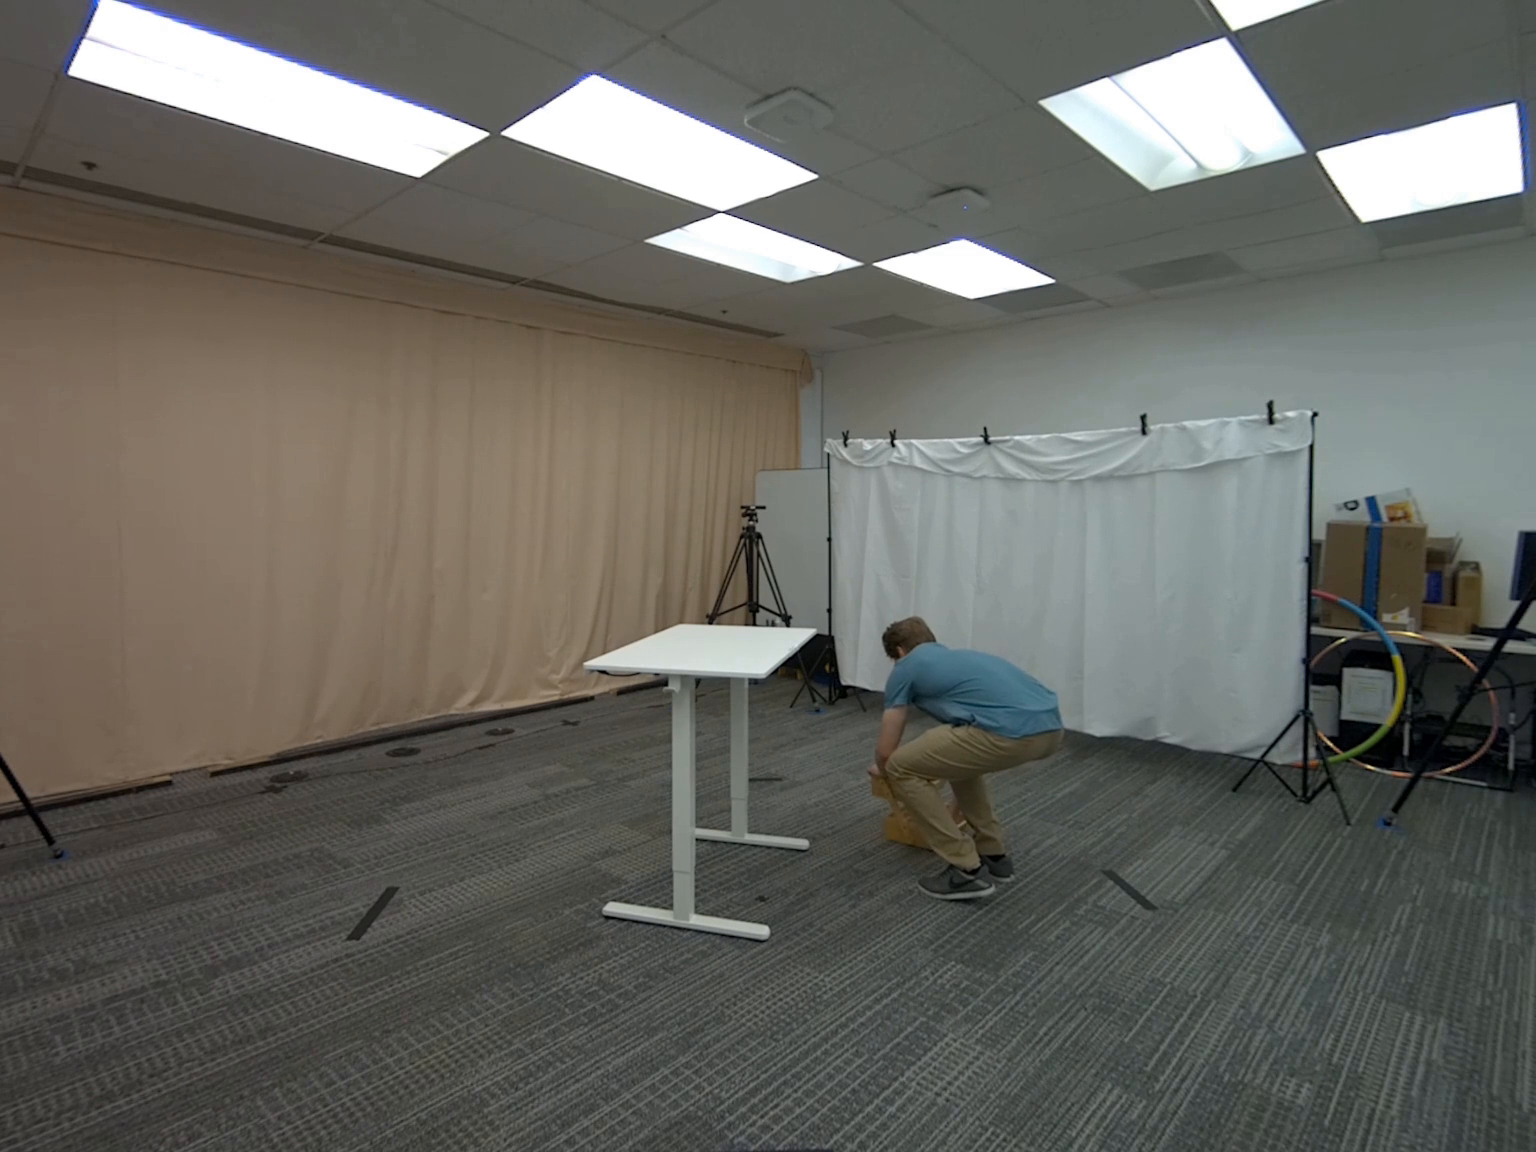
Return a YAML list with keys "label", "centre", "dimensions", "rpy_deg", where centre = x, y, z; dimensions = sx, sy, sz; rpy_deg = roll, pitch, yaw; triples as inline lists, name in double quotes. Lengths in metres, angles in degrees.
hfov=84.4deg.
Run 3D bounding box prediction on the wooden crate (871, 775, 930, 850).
- label: "wooden crate"
  centre: [0.648, 0.958, 3.575]
  dimensions: [0.311, 0.273, 0.315]
  rpy_deg: [1, 4, 37]
